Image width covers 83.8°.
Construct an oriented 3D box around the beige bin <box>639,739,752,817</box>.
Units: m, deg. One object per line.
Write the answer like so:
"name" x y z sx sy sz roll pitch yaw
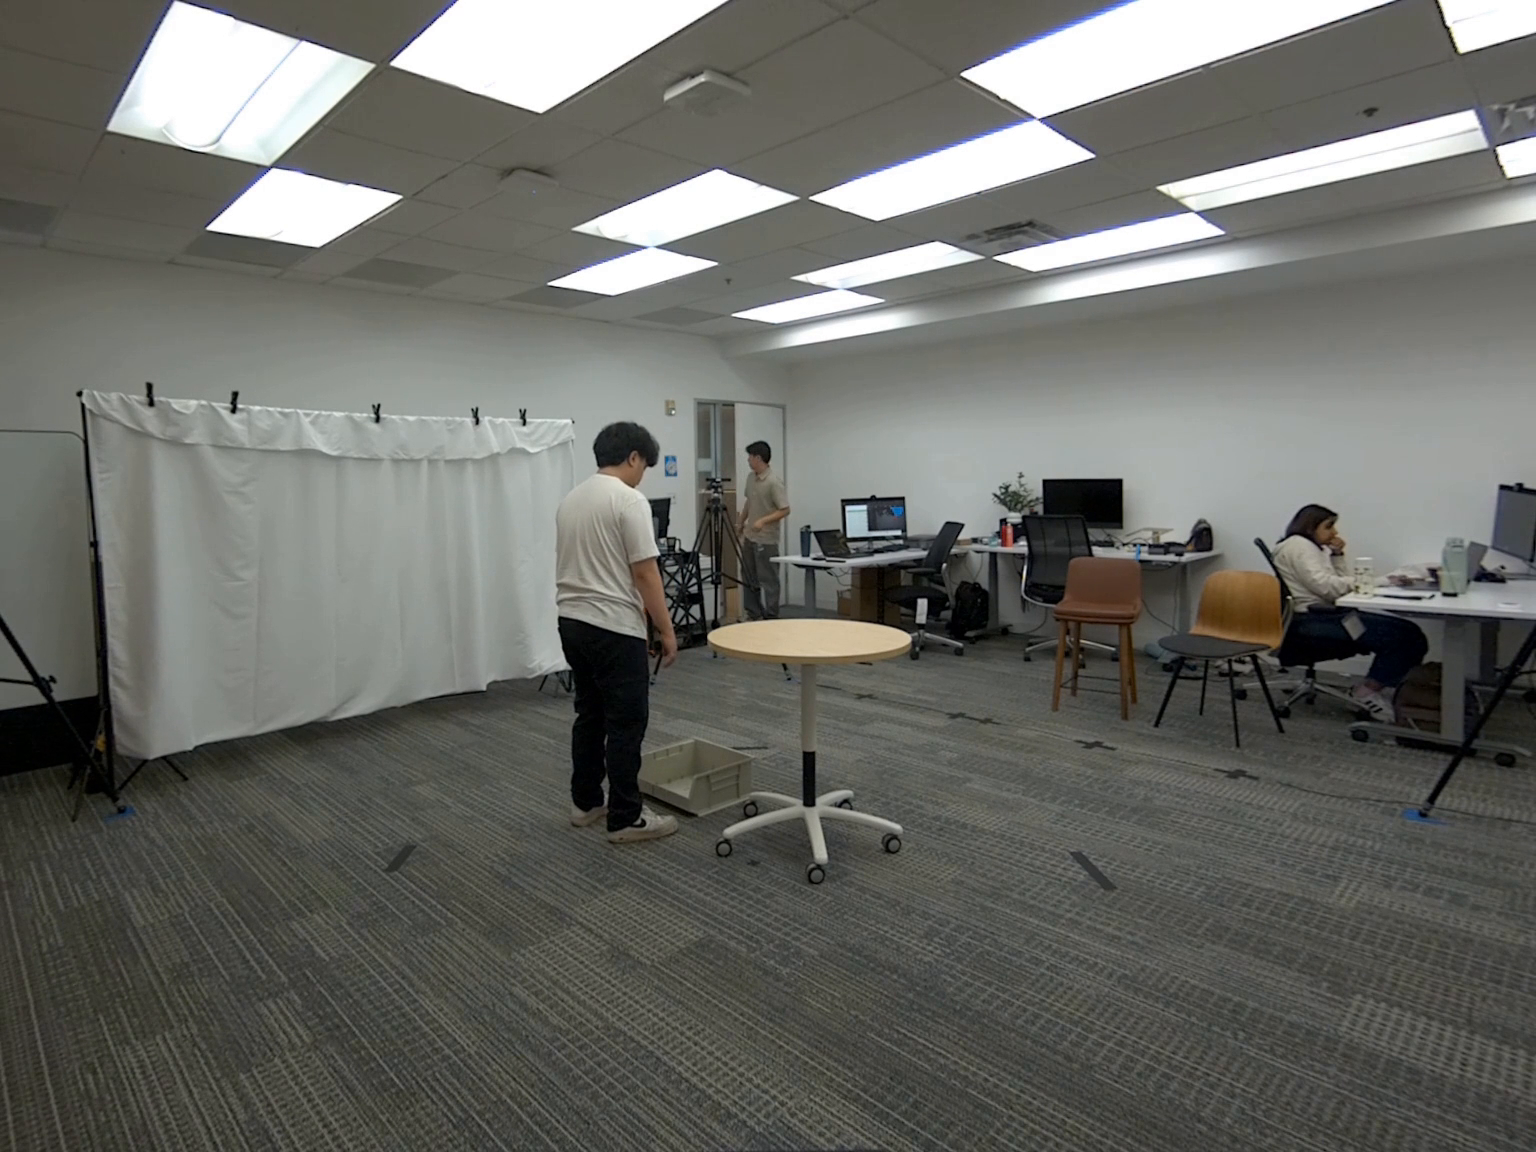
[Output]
"beige bin" -0.331 0.883 3.776 0.367 0.188 0.435 -5 7 -43
